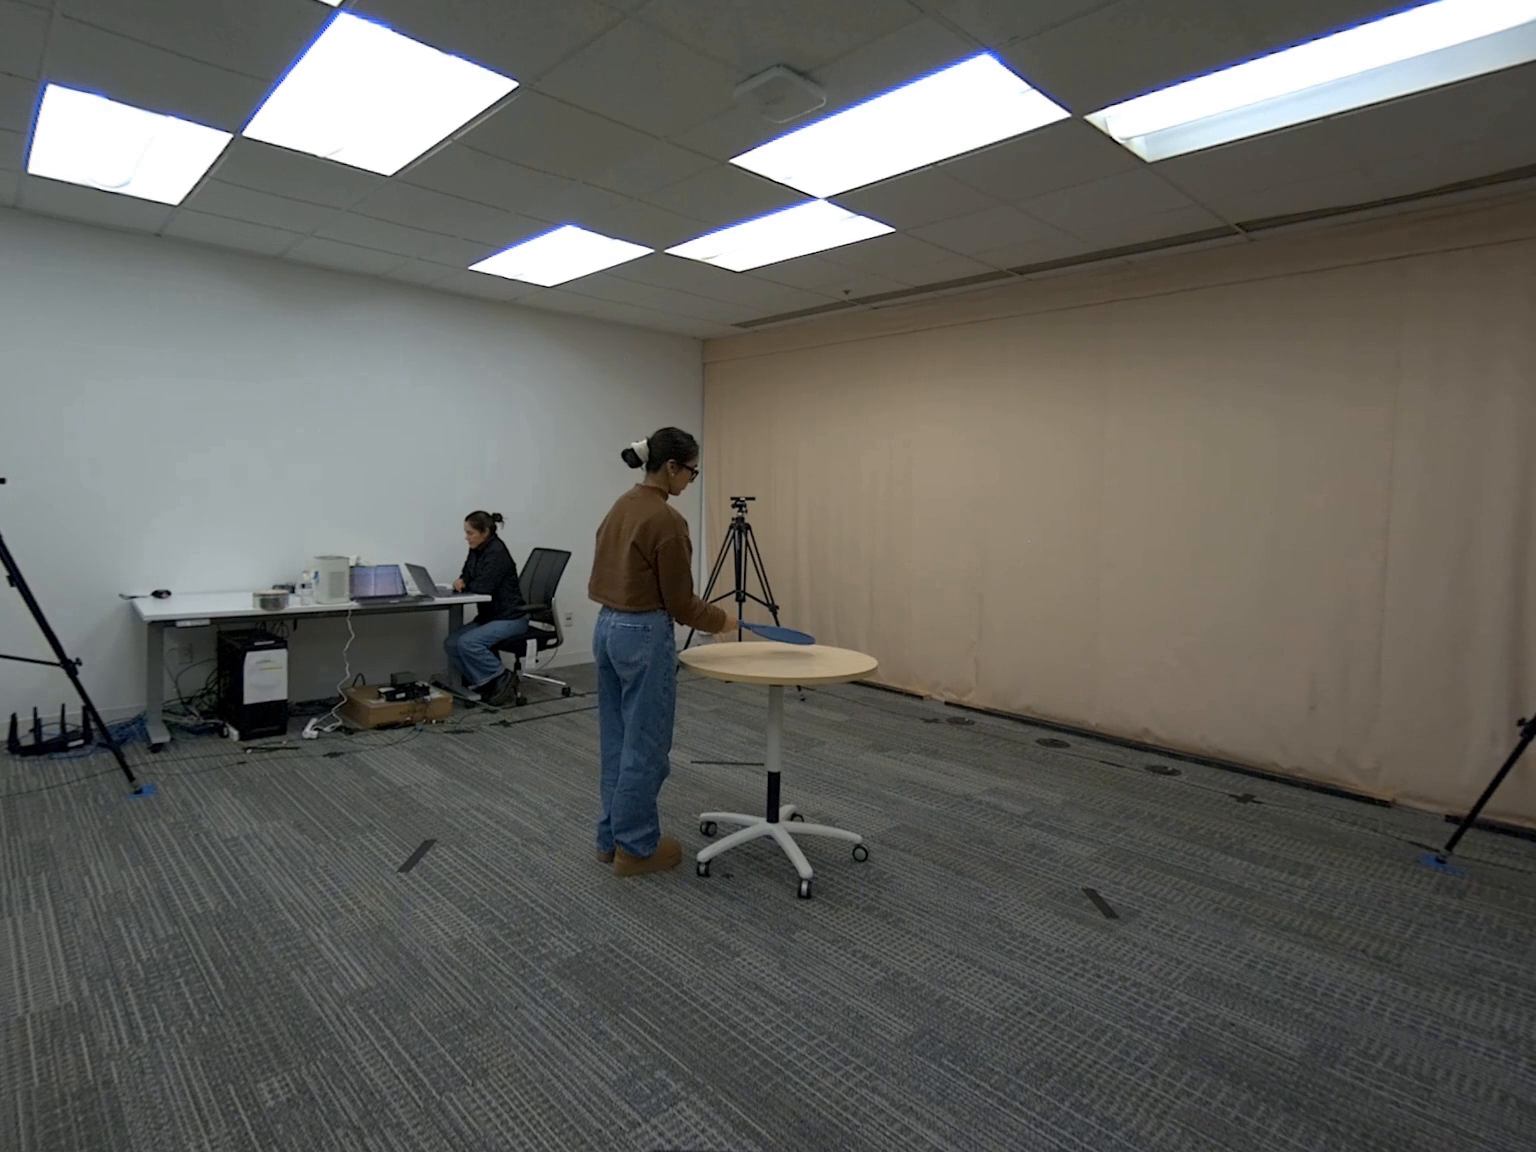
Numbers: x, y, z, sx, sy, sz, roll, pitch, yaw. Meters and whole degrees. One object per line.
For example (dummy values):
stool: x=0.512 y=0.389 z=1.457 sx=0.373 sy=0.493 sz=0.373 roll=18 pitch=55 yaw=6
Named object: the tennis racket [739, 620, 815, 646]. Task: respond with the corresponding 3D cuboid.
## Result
tennis racket: x=-0.015 y=0.204 z=3.294 sx=0.426 sy=0.032 sz=0.215 roll=15 pitch=-17 yaw=-18
